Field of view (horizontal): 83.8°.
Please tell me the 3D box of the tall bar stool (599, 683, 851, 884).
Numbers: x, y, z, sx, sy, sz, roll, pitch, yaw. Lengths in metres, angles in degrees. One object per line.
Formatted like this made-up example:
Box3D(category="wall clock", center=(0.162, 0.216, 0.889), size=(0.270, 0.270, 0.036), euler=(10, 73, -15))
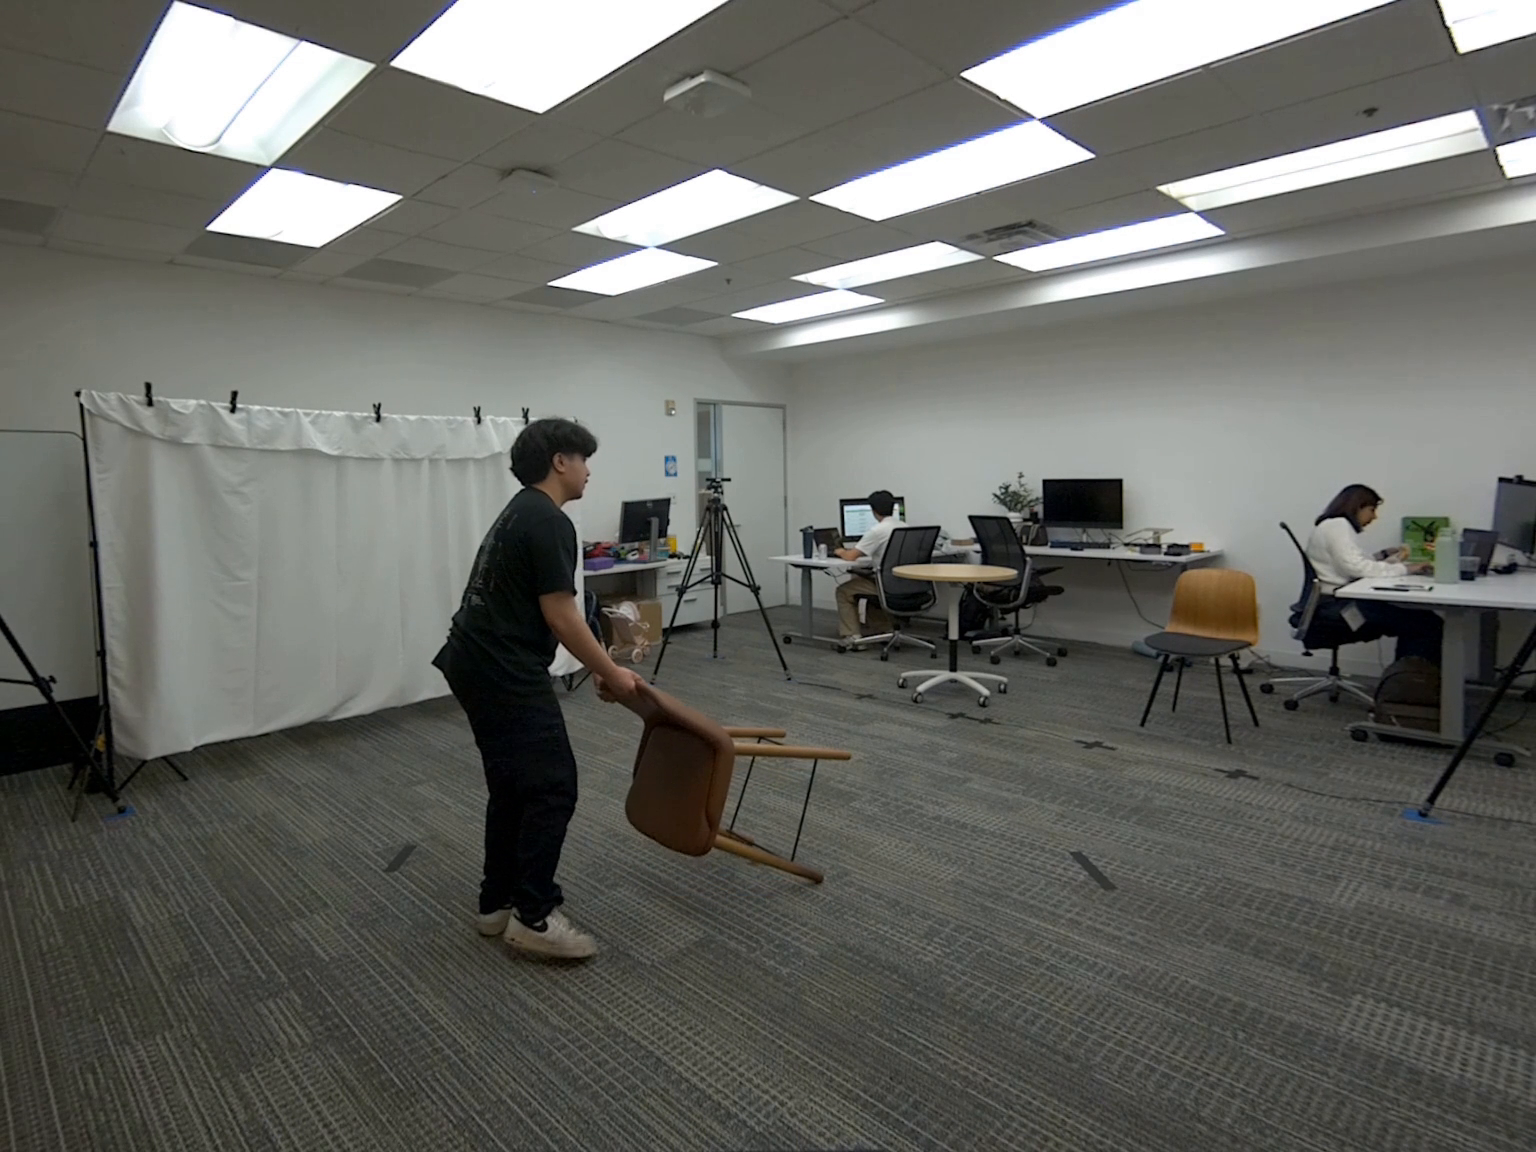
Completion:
Box3D(category="tall bar stool", center=(-0.187, 0.688, 2.895), size=(0.858, 0.470, 0.470), euler=(26, -13, -38))
